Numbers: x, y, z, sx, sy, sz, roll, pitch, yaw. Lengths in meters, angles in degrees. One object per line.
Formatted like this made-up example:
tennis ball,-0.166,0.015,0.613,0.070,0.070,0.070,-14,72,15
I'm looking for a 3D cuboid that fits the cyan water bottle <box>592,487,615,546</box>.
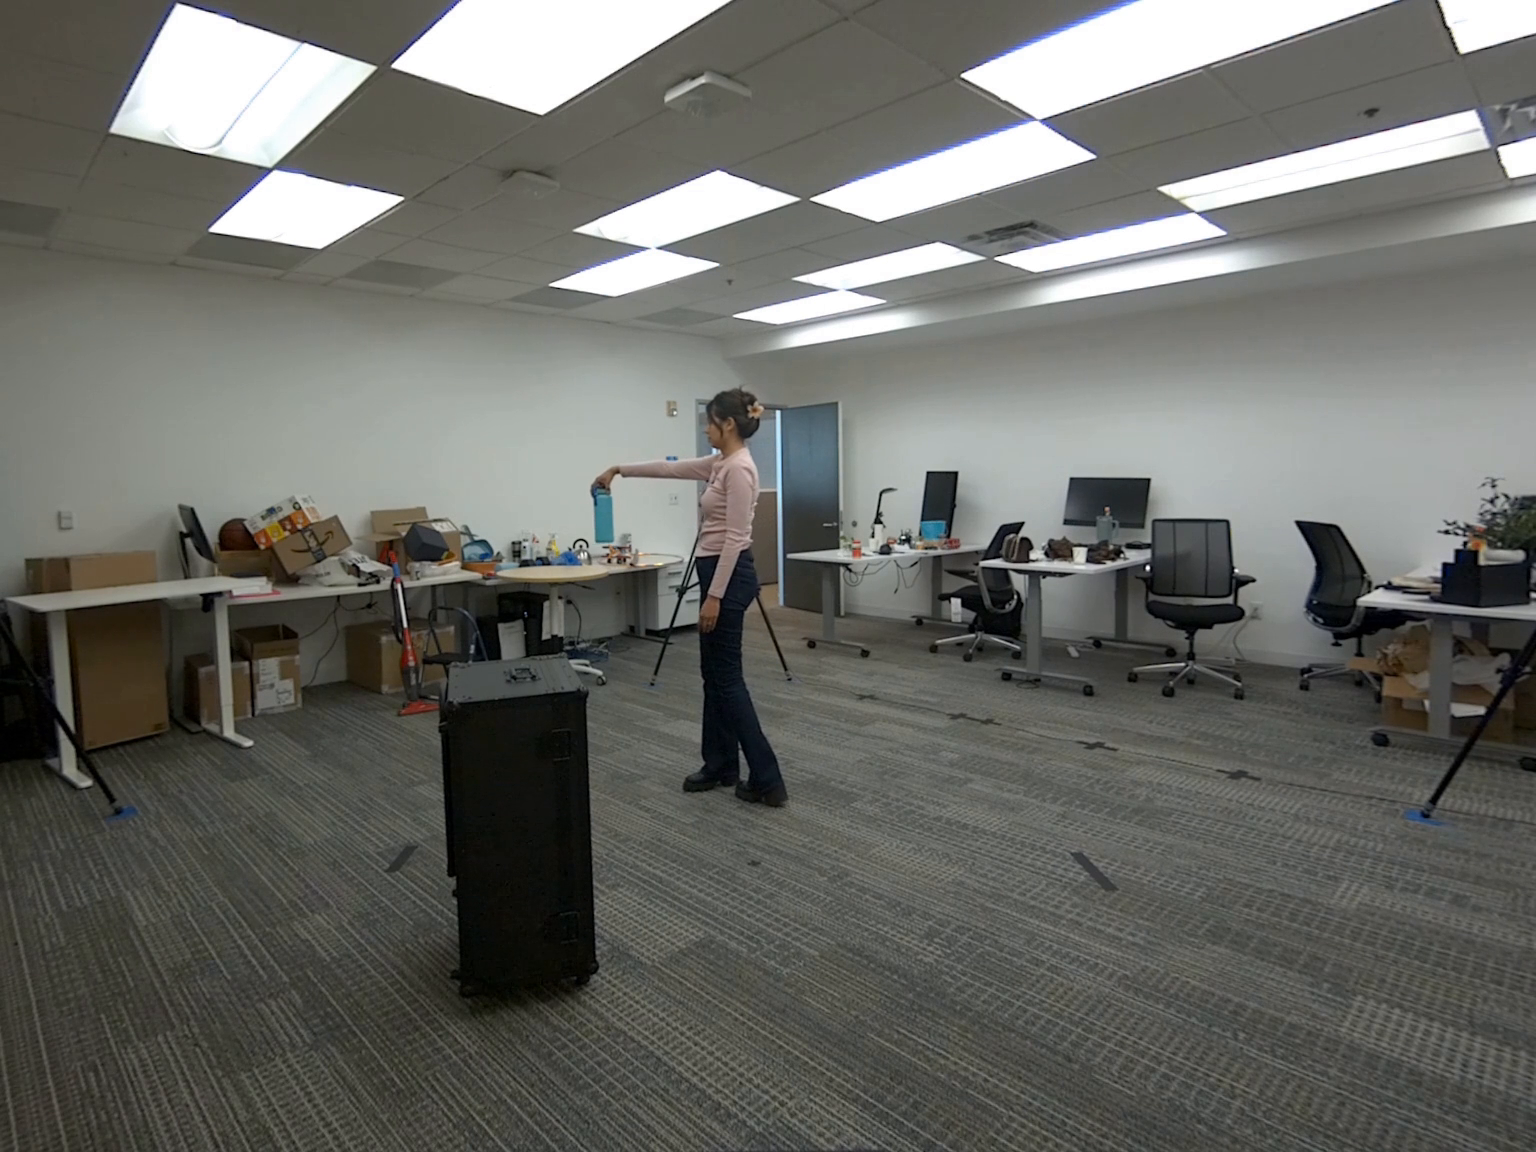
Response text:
cyan water bottle,-0.777,-0.302,4.043,0.092,0.281,0.093,-1,7,-1
